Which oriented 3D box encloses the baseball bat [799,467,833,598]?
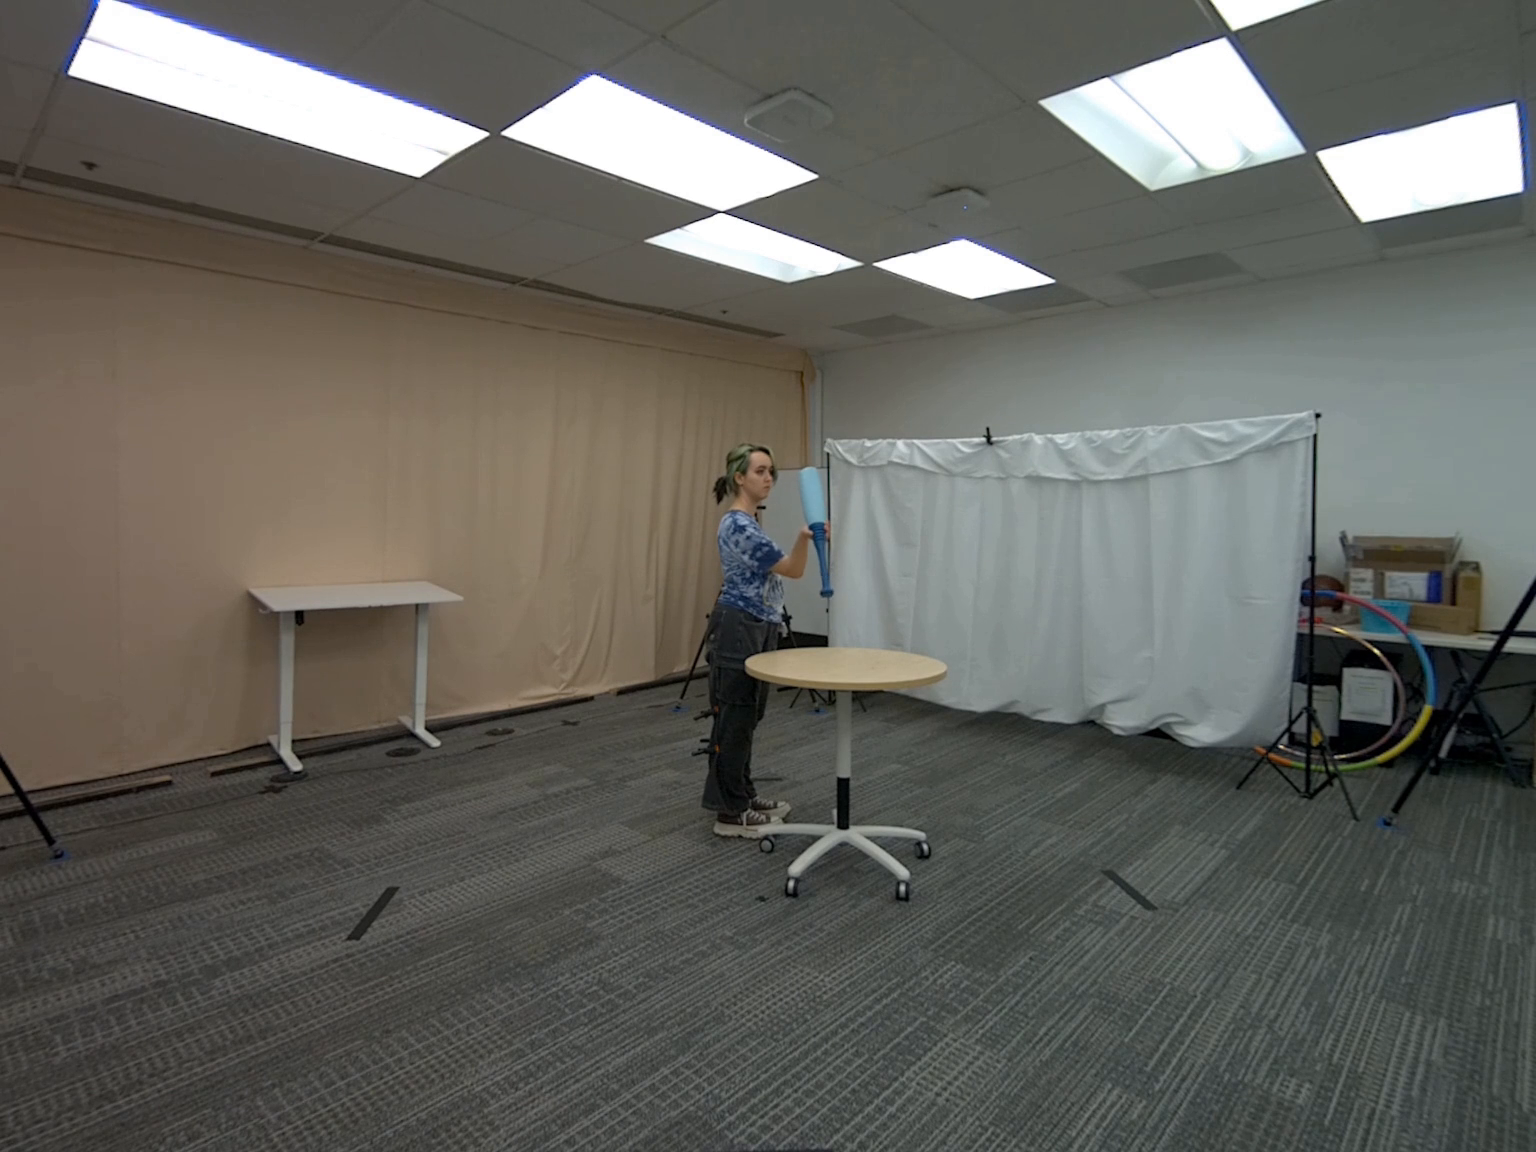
[{"bbox_3d":[0.191,-0.172,3.204,0.089,0.552,0.088,-4,-27,-4],"label":"baseball bat"}]
